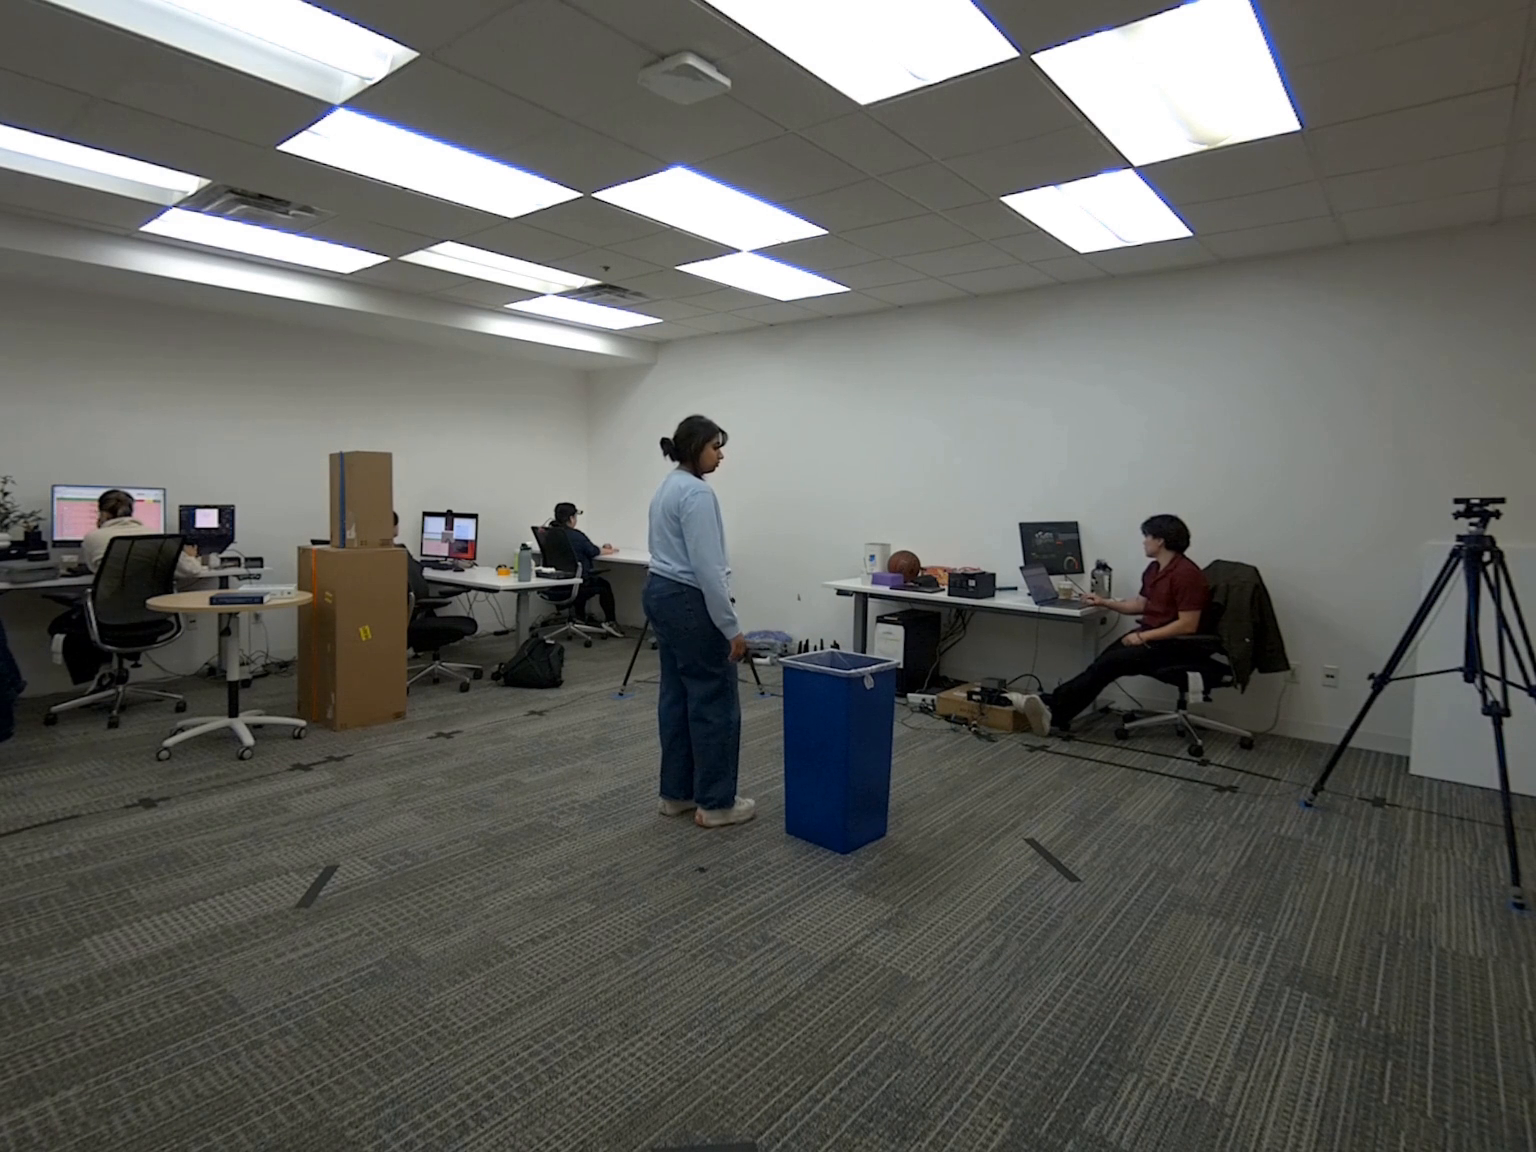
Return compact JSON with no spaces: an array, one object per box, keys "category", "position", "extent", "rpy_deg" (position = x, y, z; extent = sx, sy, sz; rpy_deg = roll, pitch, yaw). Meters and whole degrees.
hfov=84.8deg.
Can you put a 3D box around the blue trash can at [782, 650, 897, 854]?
[{"category":"blue trash can","position":[0.268,0.689,3.454],"extent":[0.387,0.712,0.366],"rpy_deg":[4,4,42]}]
